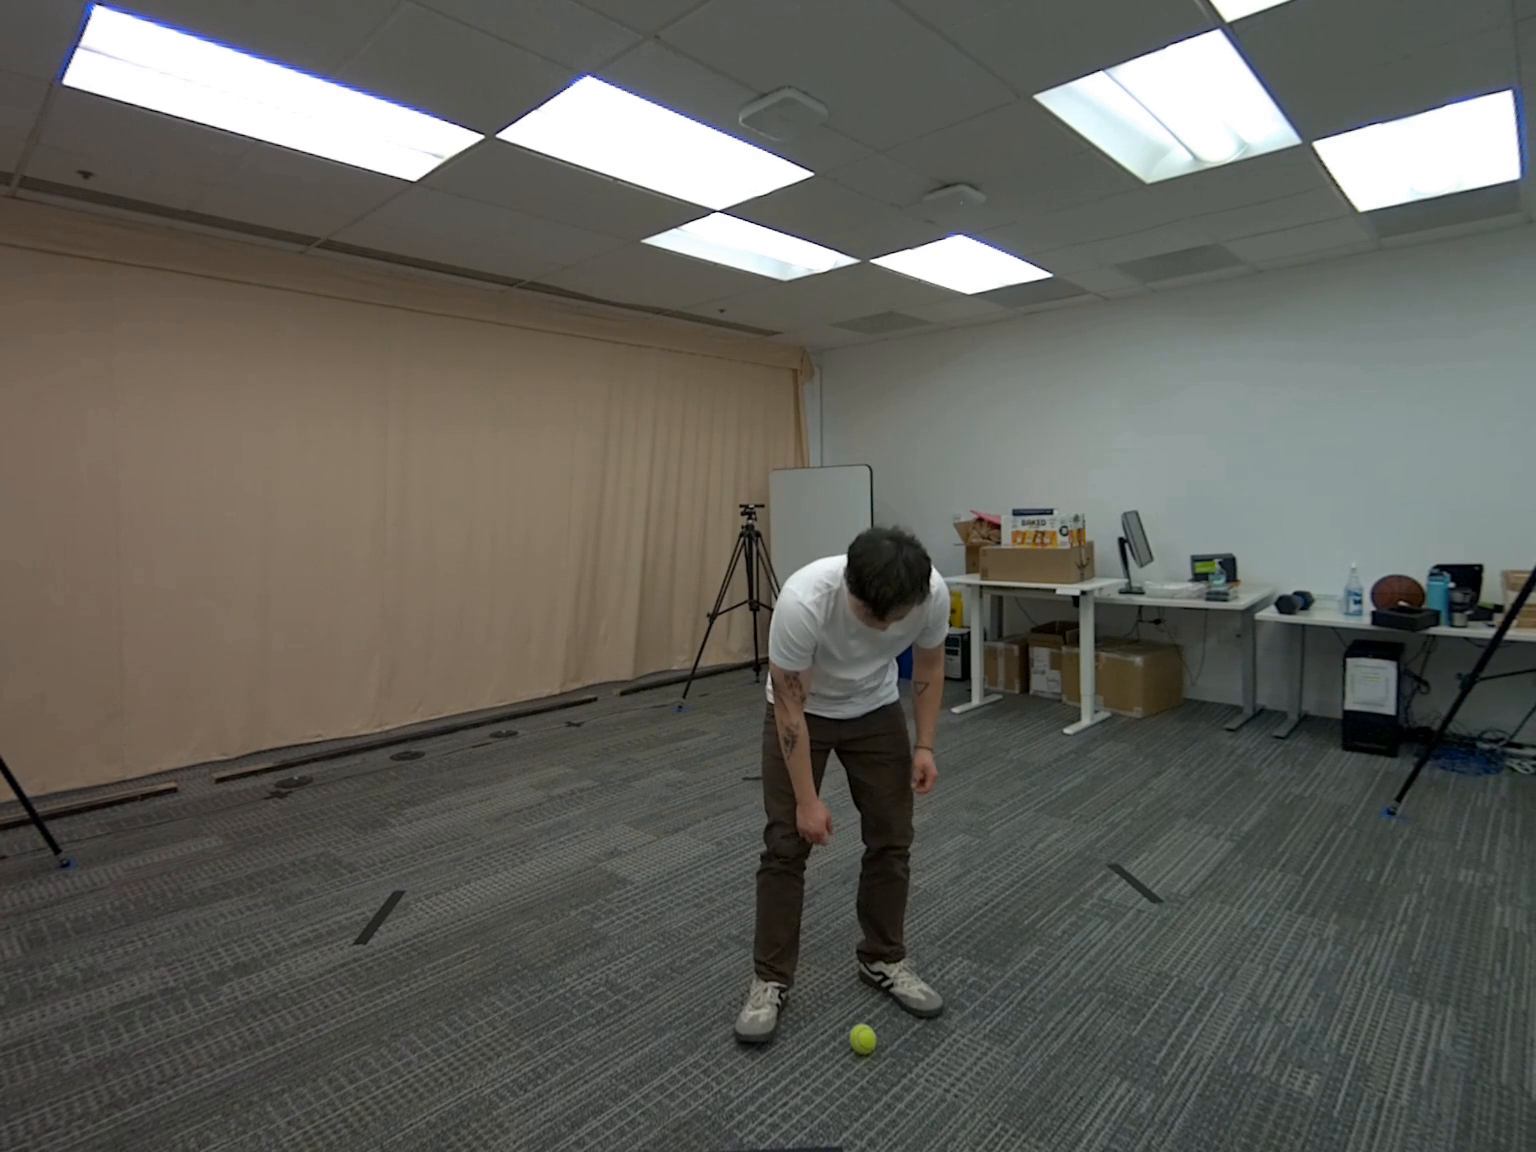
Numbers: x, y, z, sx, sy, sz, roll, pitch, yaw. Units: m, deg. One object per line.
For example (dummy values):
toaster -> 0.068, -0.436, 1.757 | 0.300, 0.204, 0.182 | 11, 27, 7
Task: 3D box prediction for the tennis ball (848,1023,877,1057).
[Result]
tennis ball -> 0.240, 1.163, 2.134 | 0.066, 0.066, 0.067 | -1, 4, -2
